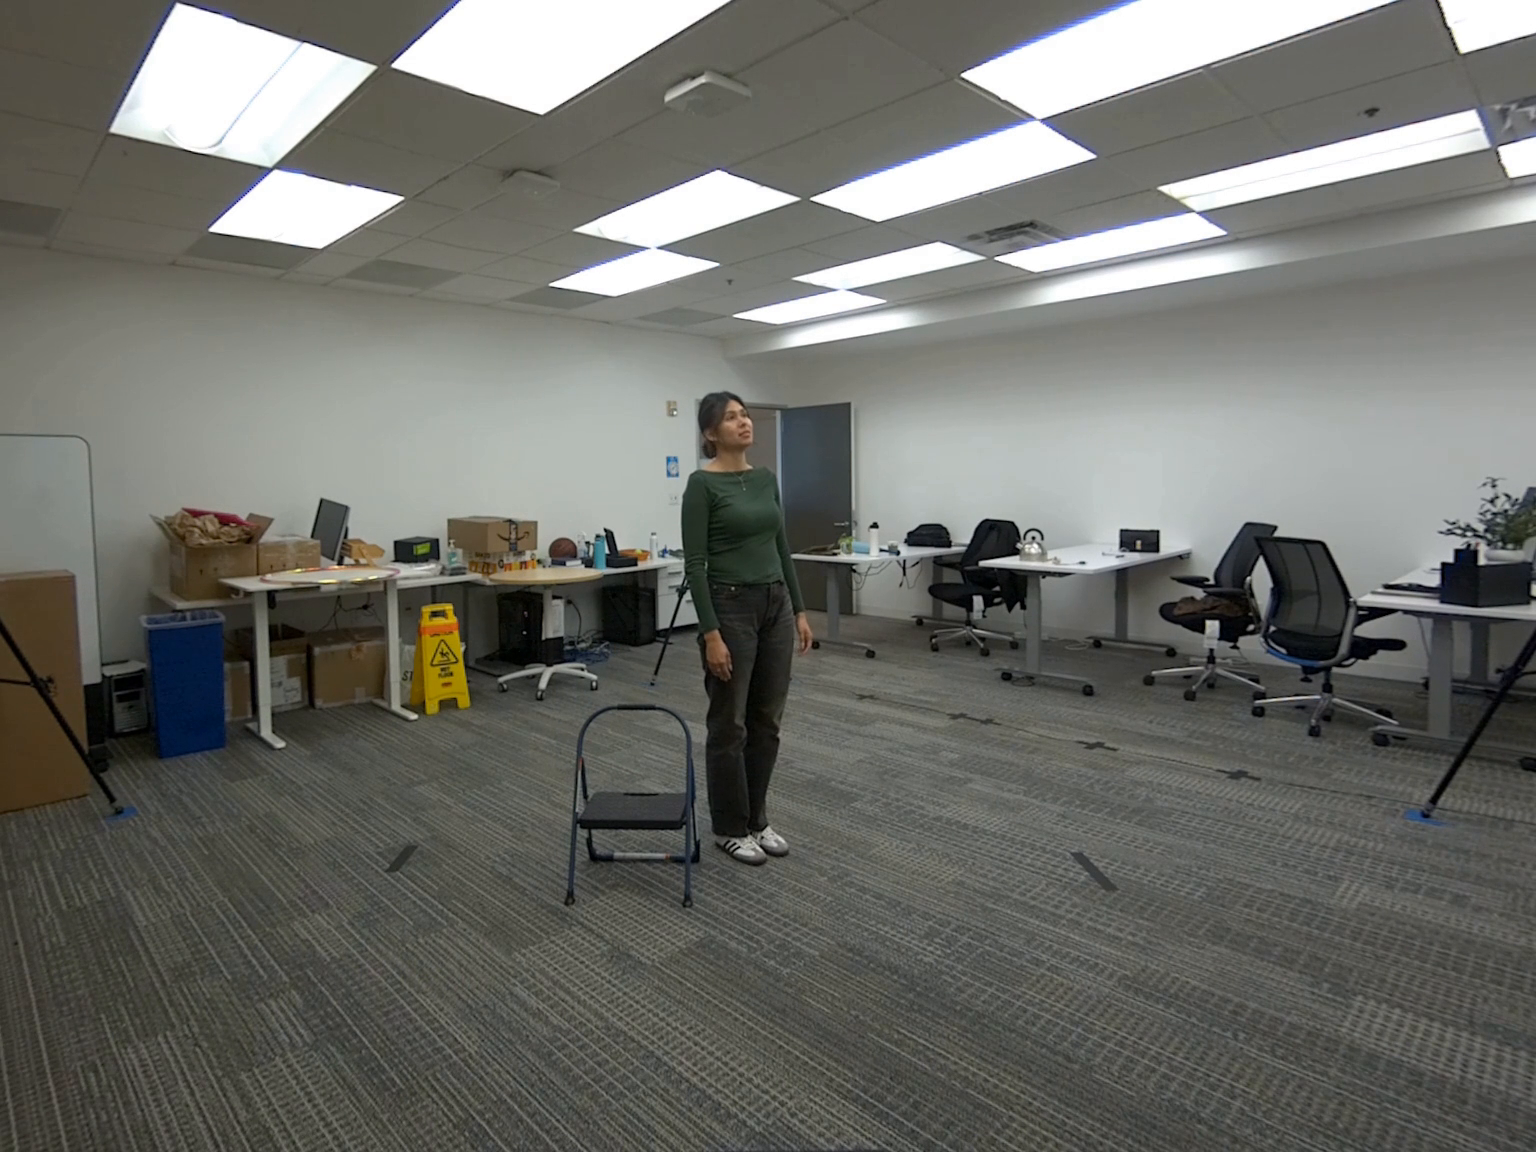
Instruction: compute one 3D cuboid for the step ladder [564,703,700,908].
[{"bbox_3d":[-0.462,0.763,2.963,0.432,0.603,0.350,0,5,3],"label":"step ladder"}]
